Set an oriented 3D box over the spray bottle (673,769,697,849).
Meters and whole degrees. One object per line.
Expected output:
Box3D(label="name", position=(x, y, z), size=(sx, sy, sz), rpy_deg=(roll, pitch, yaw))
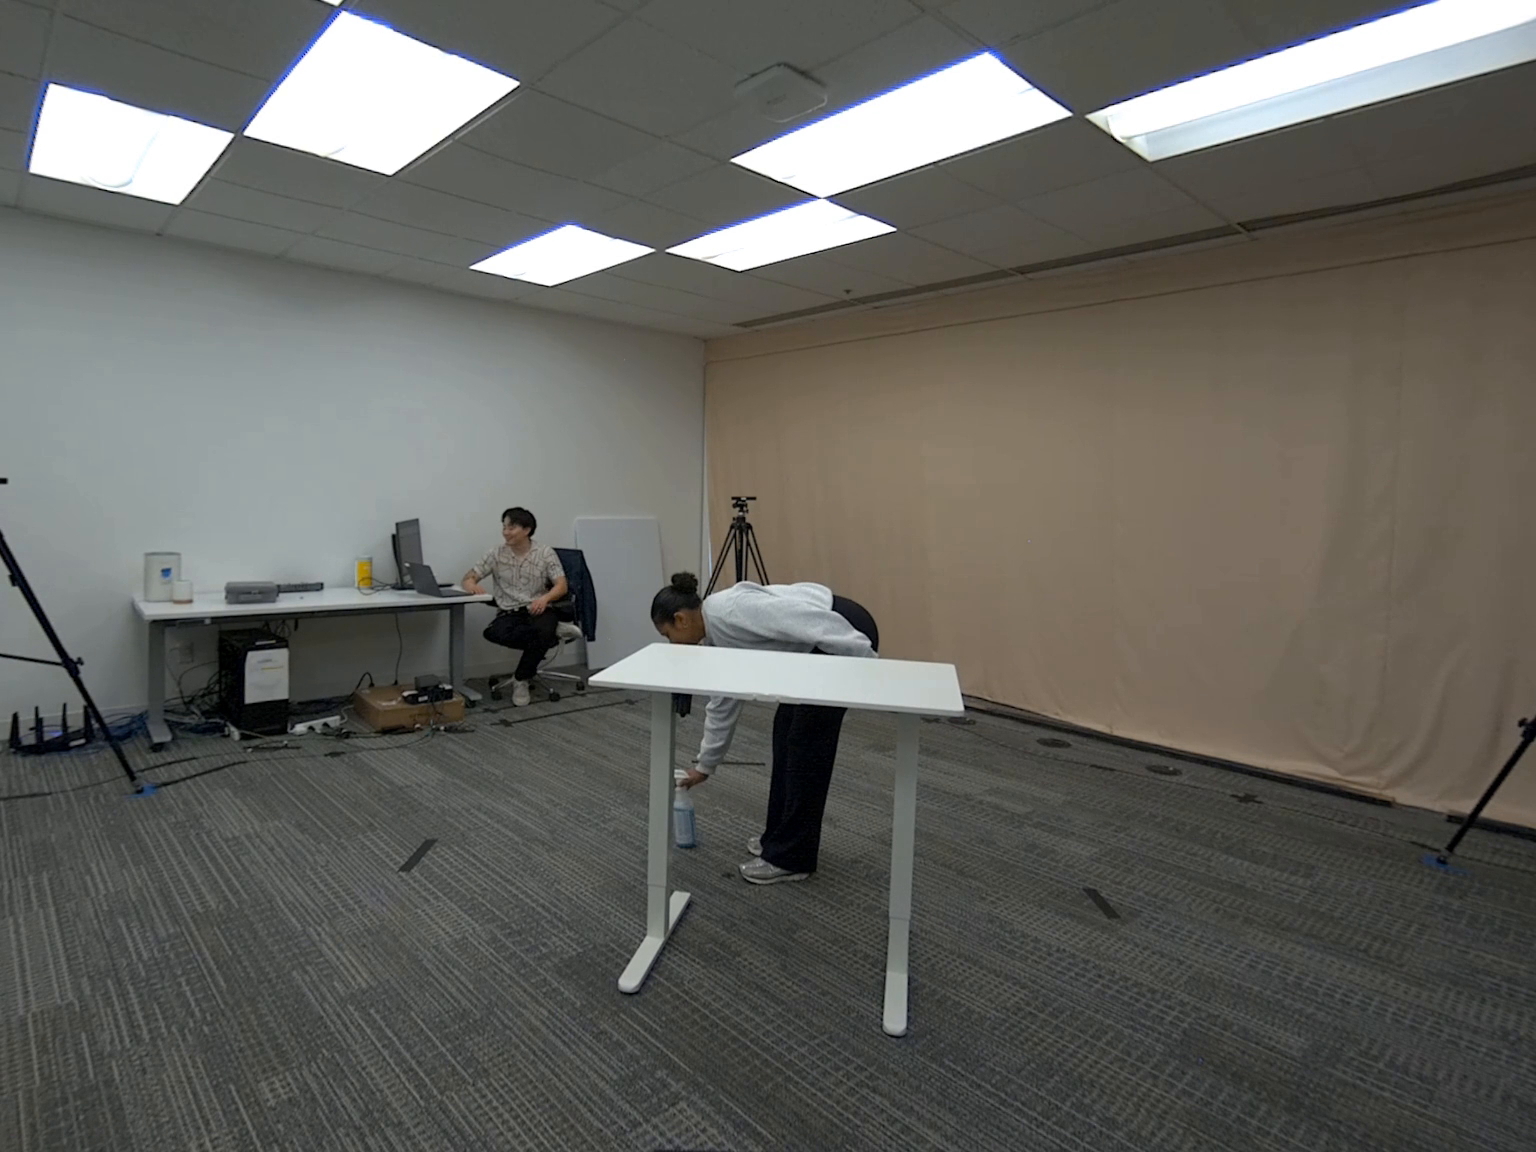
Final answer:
Box3D(label="spray bottle", position=(-0.341, 0.906, 3.361), size=(0.092, 0.296, 0.085), rpy_deg=(-2, 6, 44))
